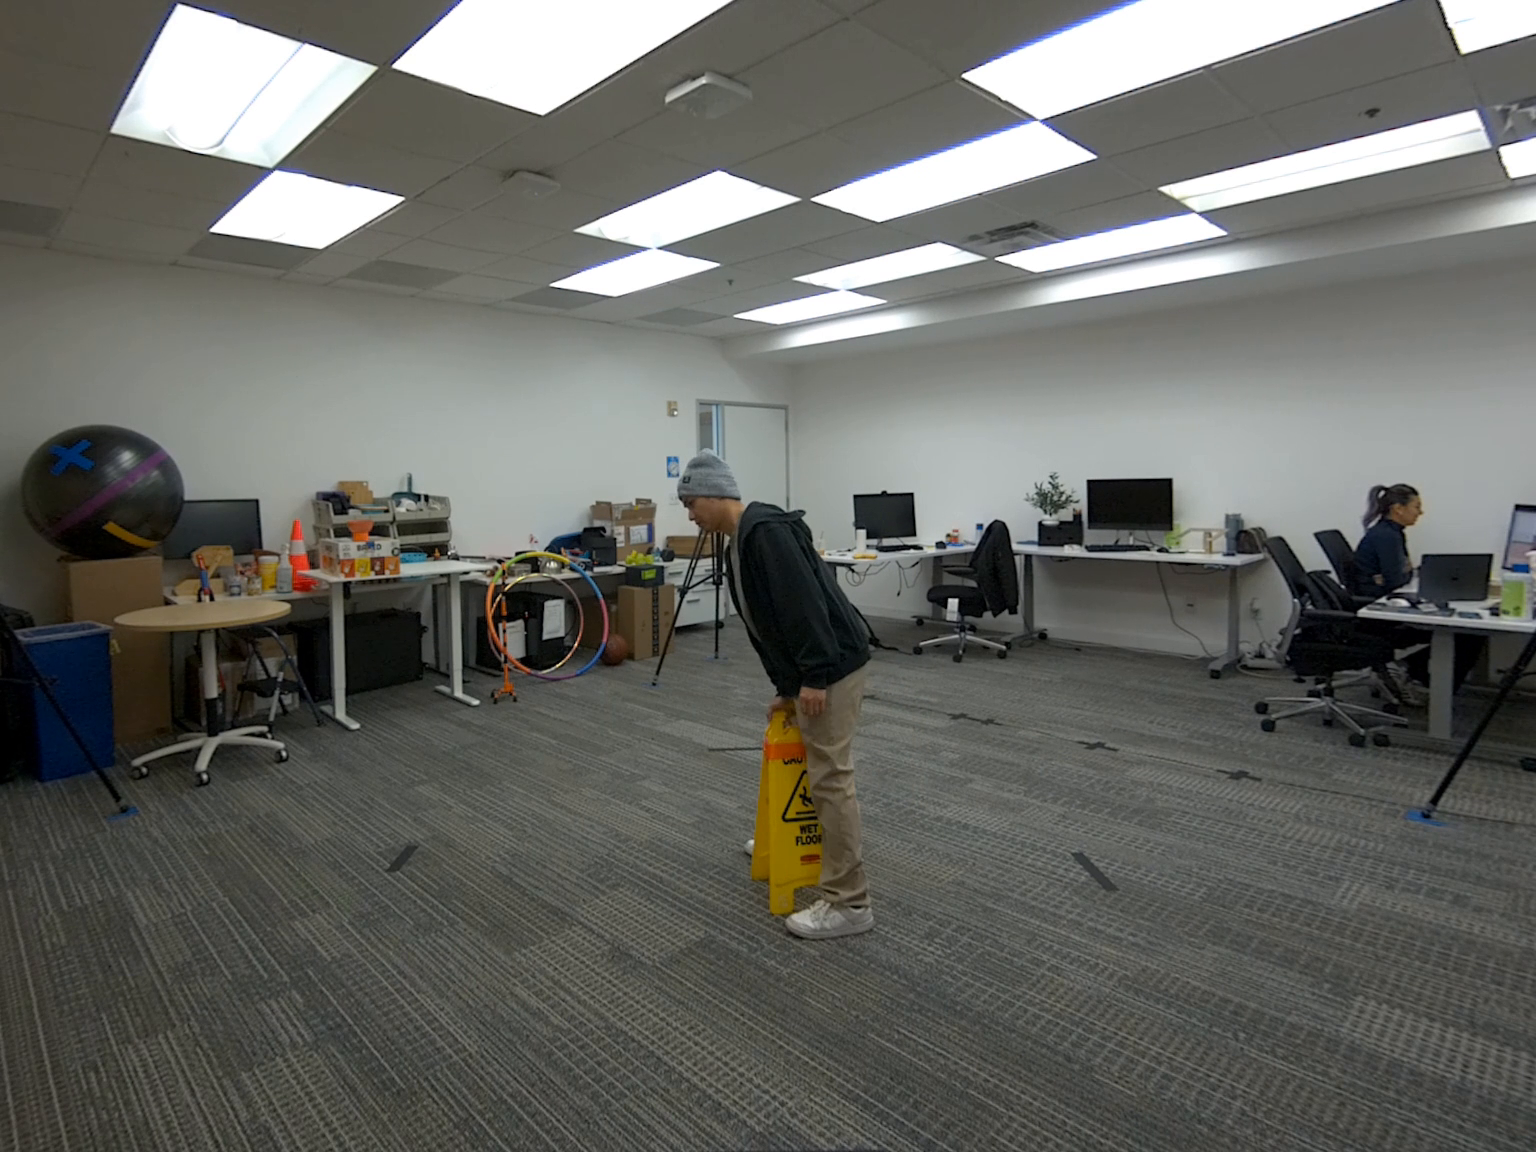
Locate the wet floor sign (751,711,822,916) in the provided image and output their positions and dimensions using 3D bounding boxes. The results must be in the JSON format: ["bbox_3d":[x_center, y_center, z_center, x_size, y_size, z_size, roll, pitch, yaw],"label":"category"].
[{"bbox_3d":[0.103,0.748,2.864,0.279,0.643,0.294,-3,5,-13],"label":"wet floor sign"}]
